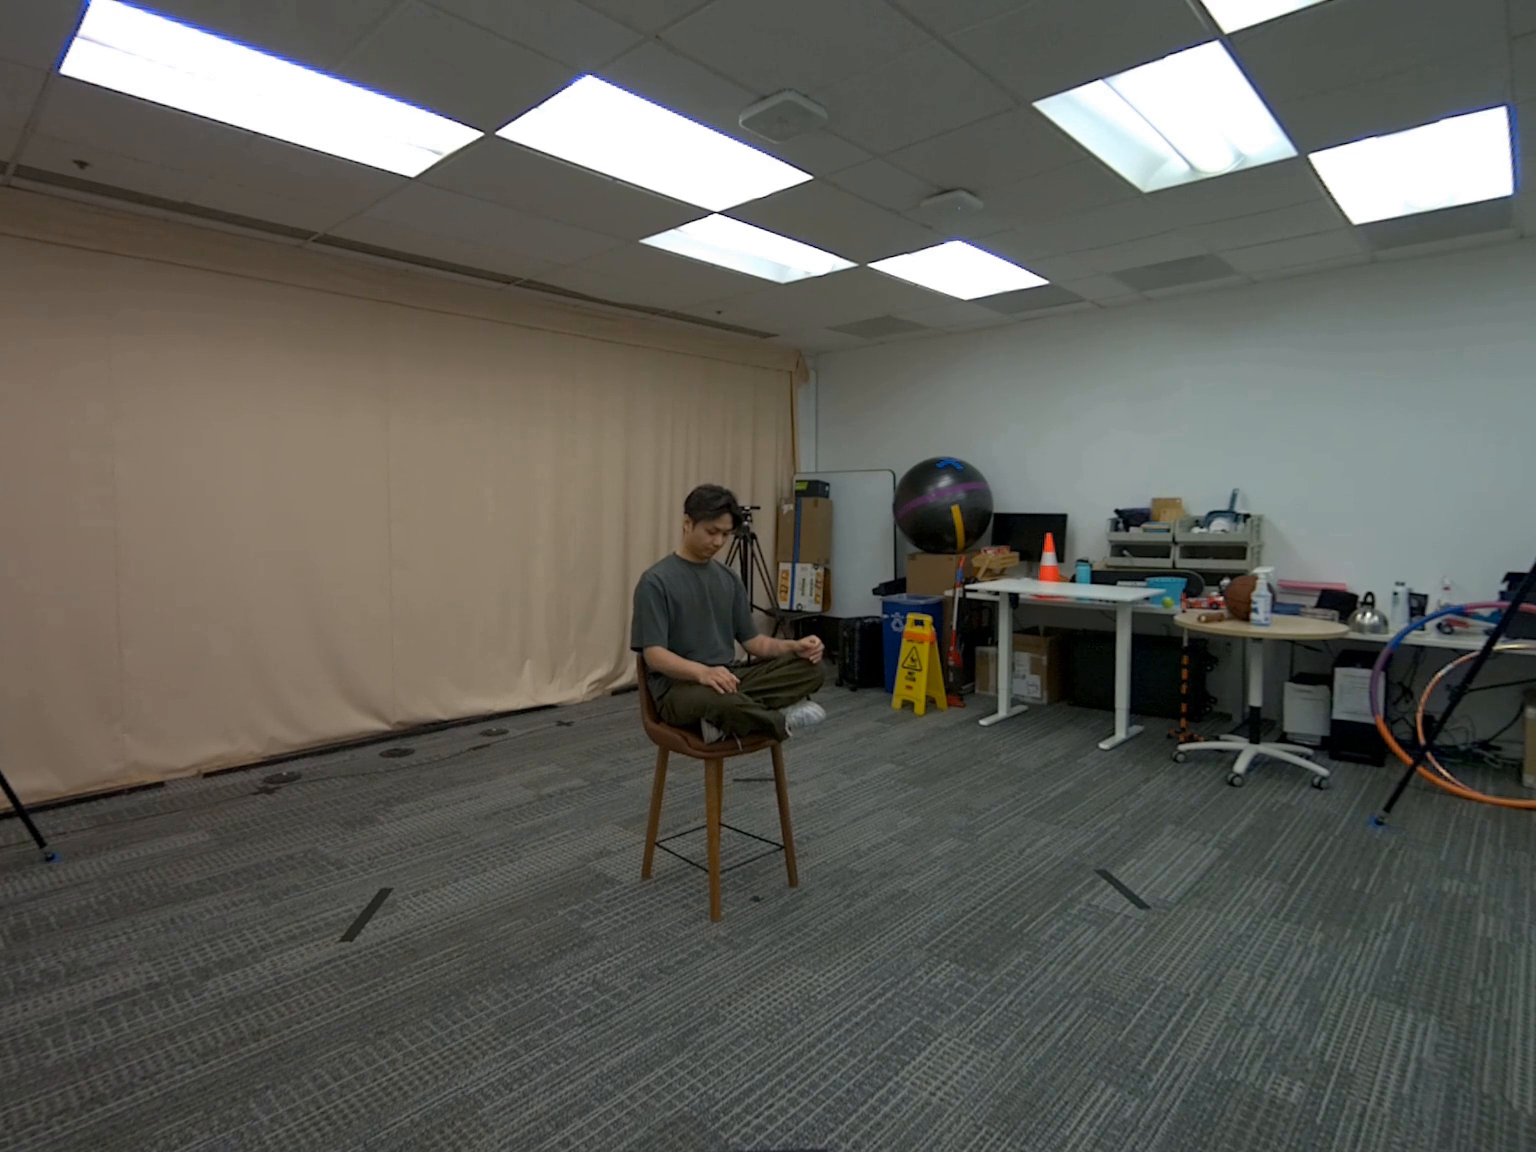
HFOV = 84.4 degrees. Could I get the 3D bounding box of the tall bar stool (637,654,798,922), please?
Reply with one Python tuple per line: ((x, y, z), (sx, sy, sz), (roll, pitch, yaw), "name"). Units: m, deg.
((-0.197, 0.699, 3.103), (0.442, 0.889, 0.482), (-4, 2, -43), "tall bar stool")
